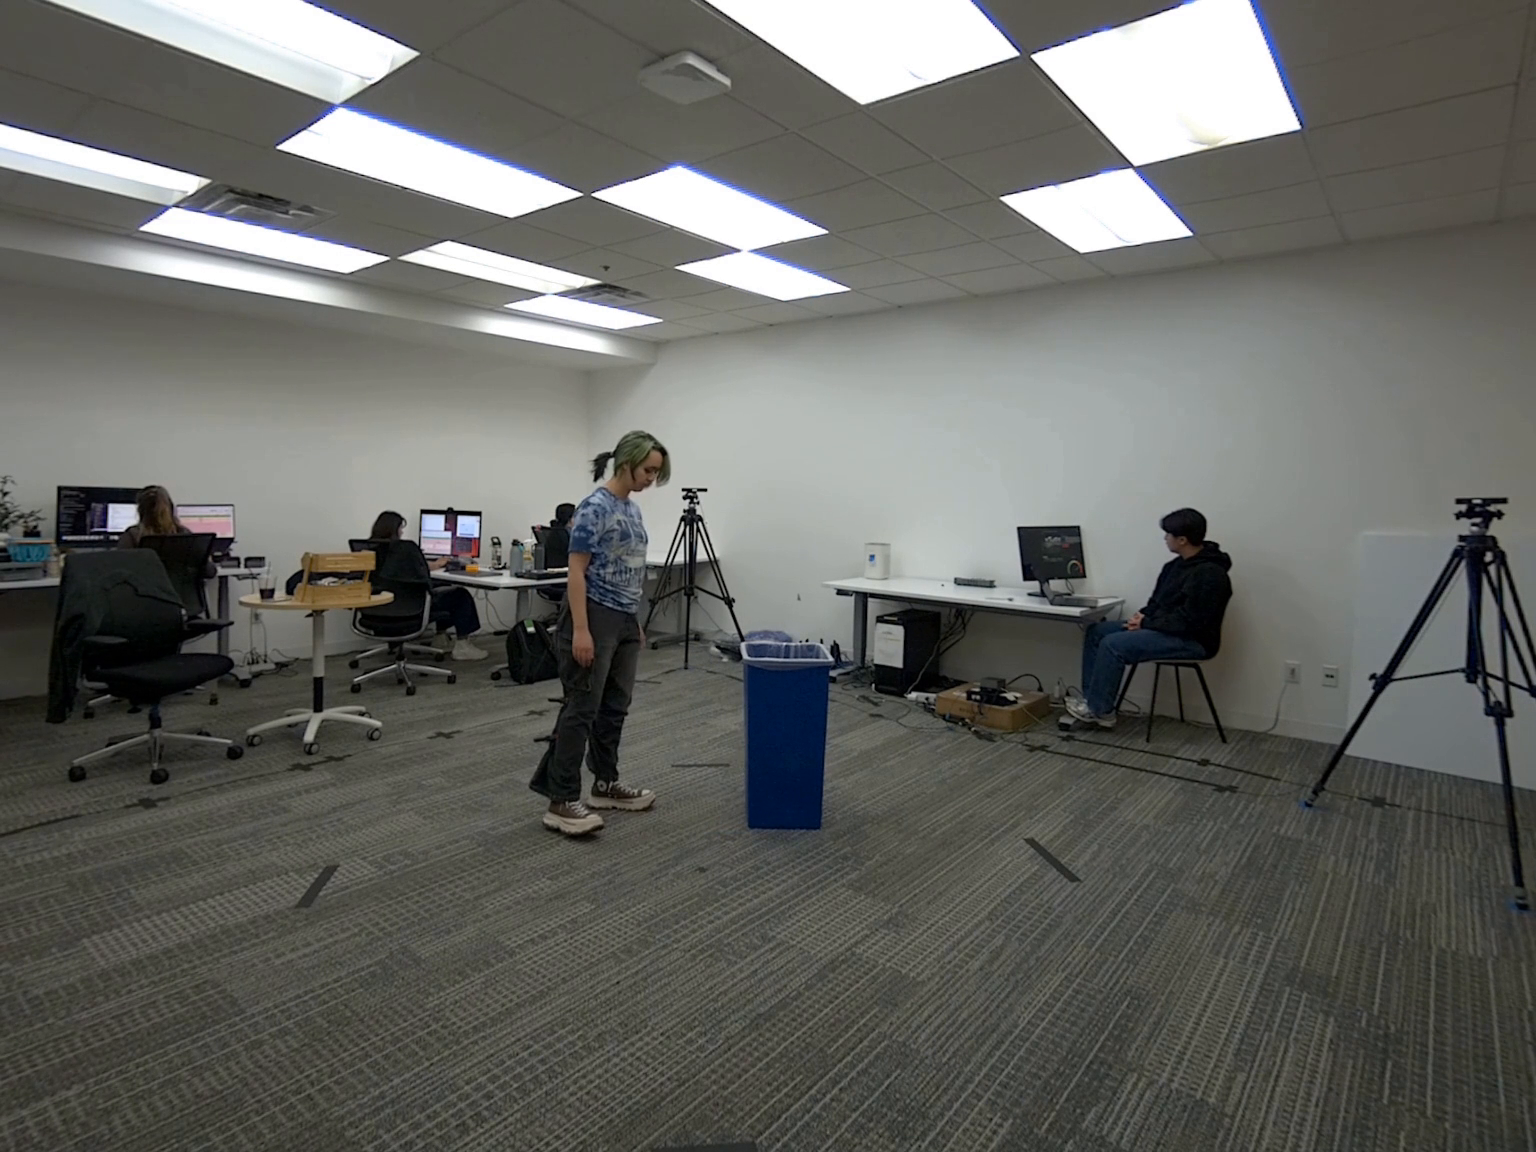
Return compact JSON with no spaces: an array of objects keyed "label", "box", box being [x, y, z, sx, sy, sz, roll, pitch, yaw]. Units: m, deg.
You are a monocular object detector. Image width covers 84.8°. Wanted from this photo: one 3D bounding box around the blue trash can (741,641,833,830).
[{"label":"blue trash can","box":[0.066,0.671,3.624,0.377,0.711,0.376,1,3,-3]}]
